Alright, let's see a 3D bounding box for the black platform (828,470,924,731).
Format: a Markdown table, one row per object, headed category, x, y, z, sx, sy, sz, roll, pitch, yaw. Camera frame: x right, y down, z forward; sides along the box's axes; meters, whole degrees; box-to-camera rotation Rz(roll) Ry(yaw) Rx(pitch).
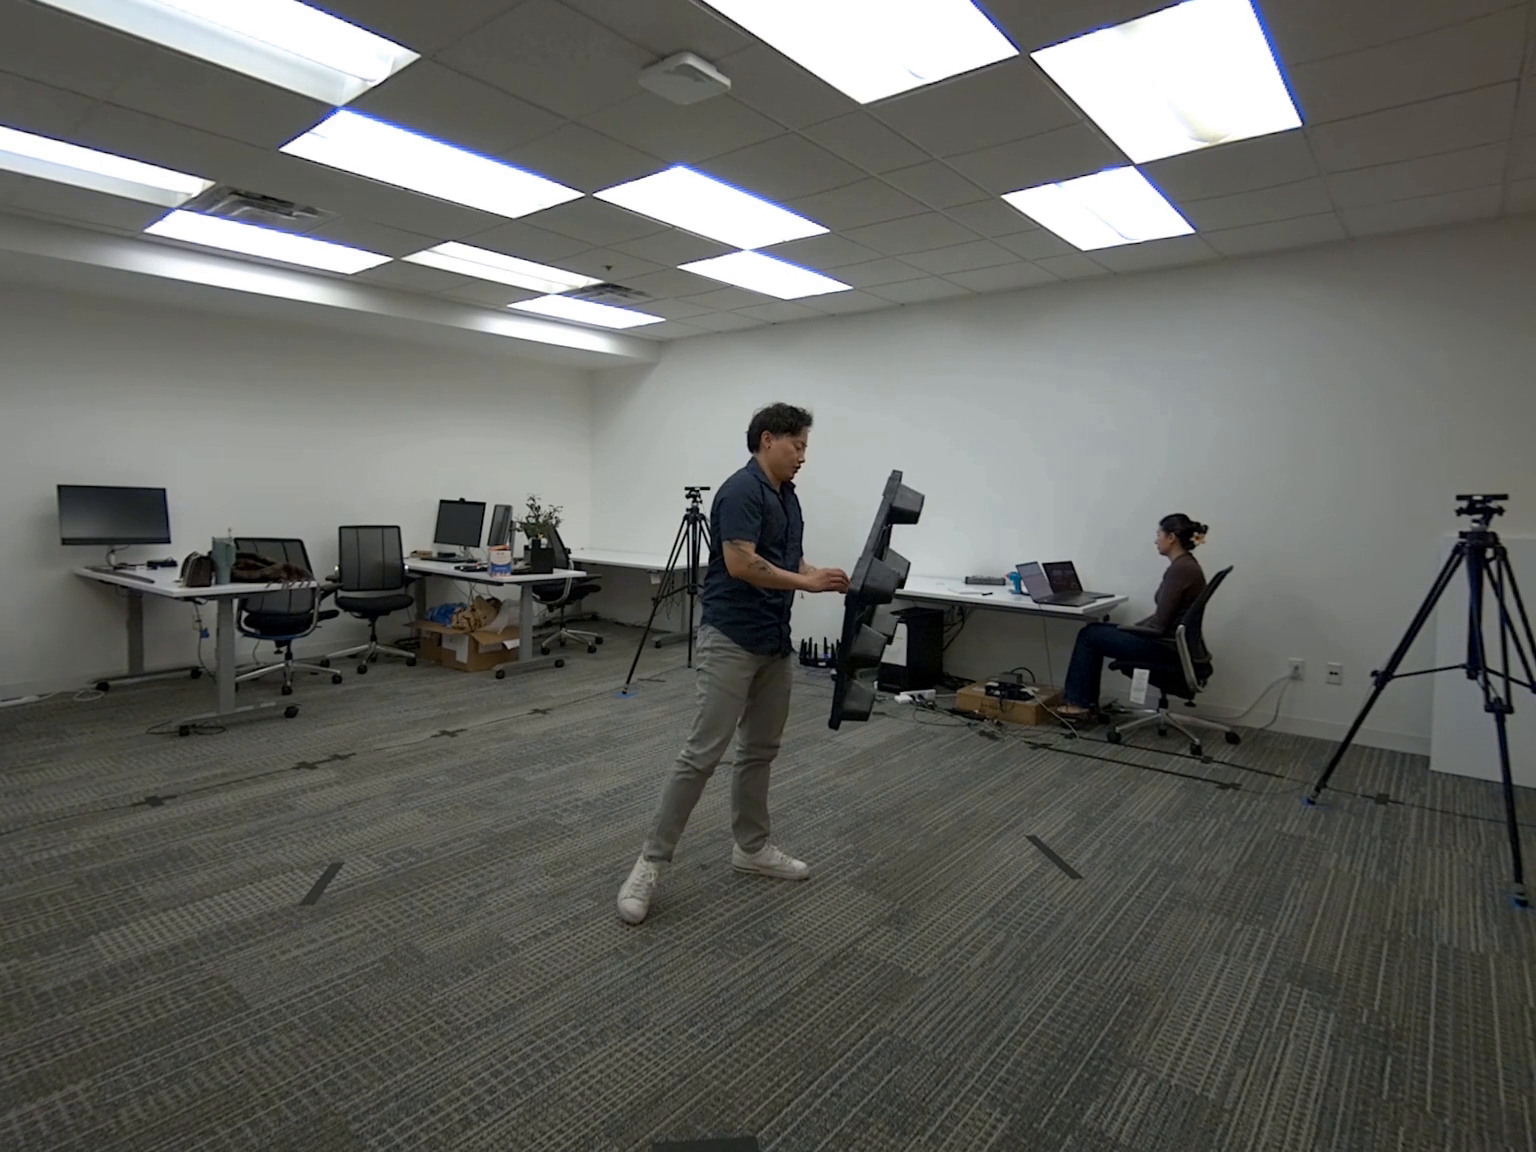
| category | x | y | z | sx | sy | sz | roll | pitch | yaw |
| --- | --- | --- | --- | --- | --- | --- | --- | --- | --- |
| black platform | 0.379 | 0.109 | 3.031 | 0.146 | 0.783 | 0.611 | 17 | 49 | 12 |
